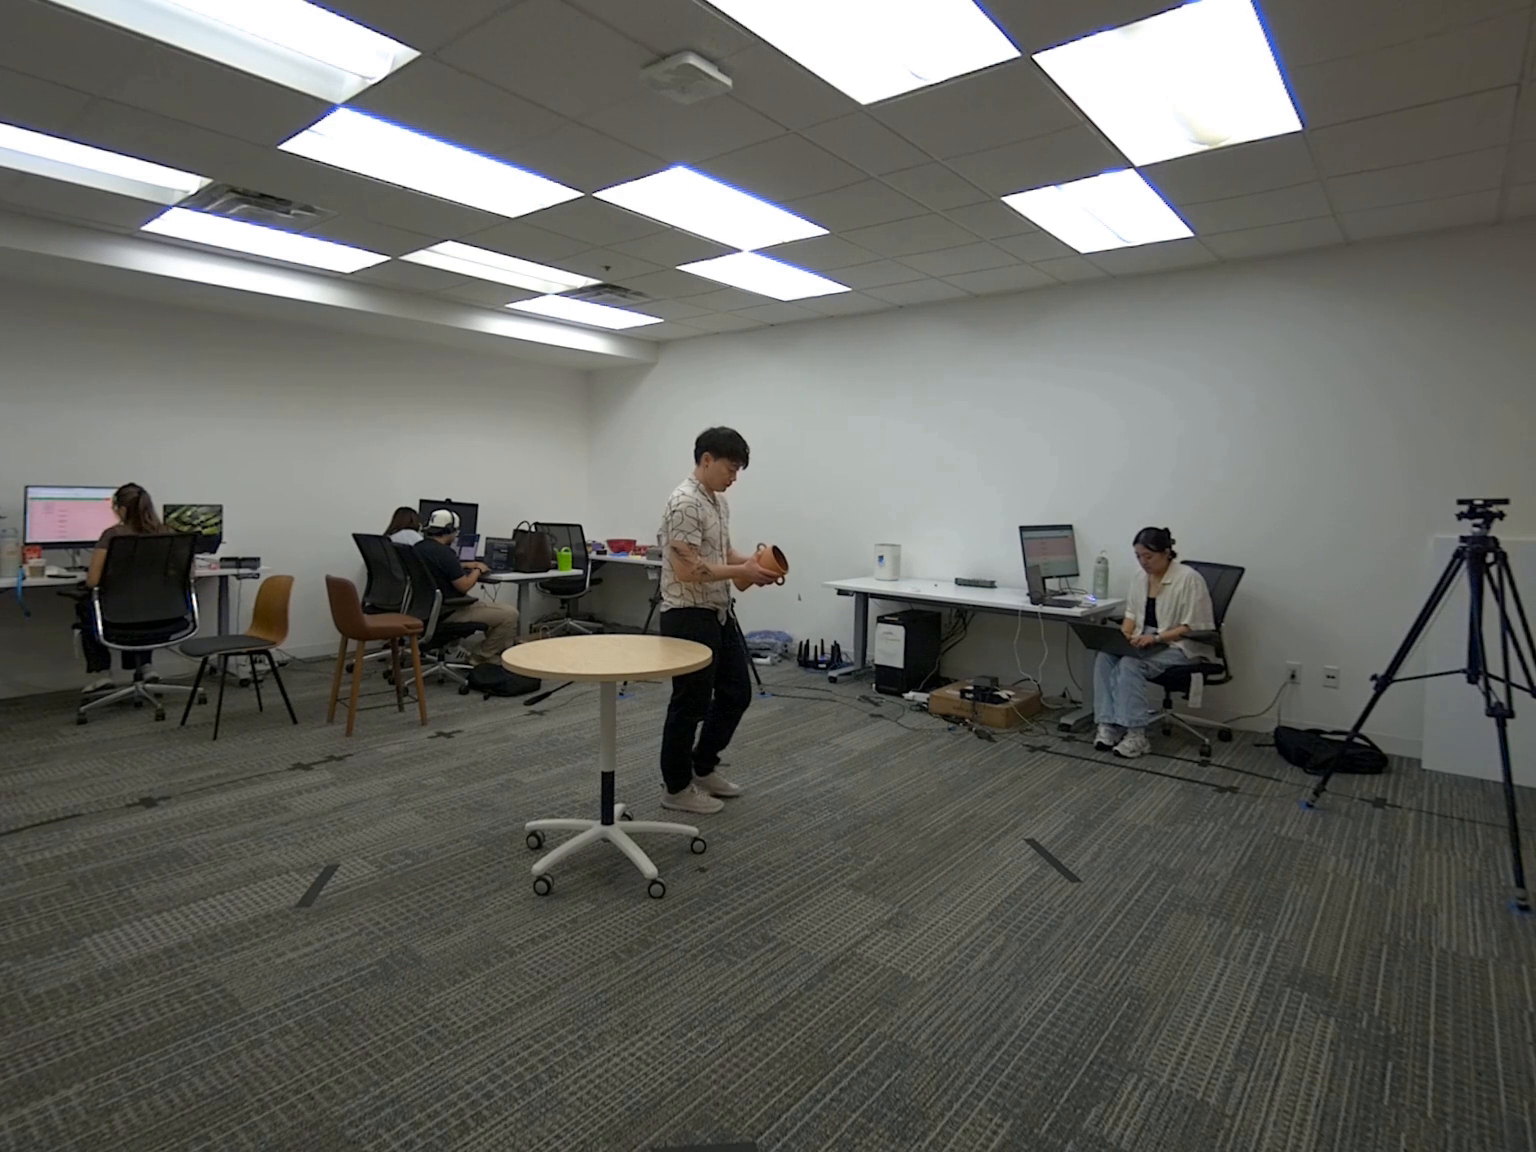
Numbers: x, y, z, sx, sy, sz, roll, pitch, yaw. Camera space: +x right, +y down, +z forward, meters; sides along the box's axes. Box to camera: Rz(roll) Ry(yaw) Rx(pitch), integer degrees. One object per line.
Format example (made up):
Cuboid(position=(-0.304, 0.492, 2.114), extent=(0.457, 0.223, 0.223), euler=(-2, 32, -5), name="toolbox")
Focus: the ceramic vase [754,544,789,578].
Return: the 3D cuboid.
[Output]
Cuboid(position=(-0.044, -0.026, 3.556), extent=(0.222, 0.164, 0.129), euler=(-29, -39, 22), name="ceramic vase")
